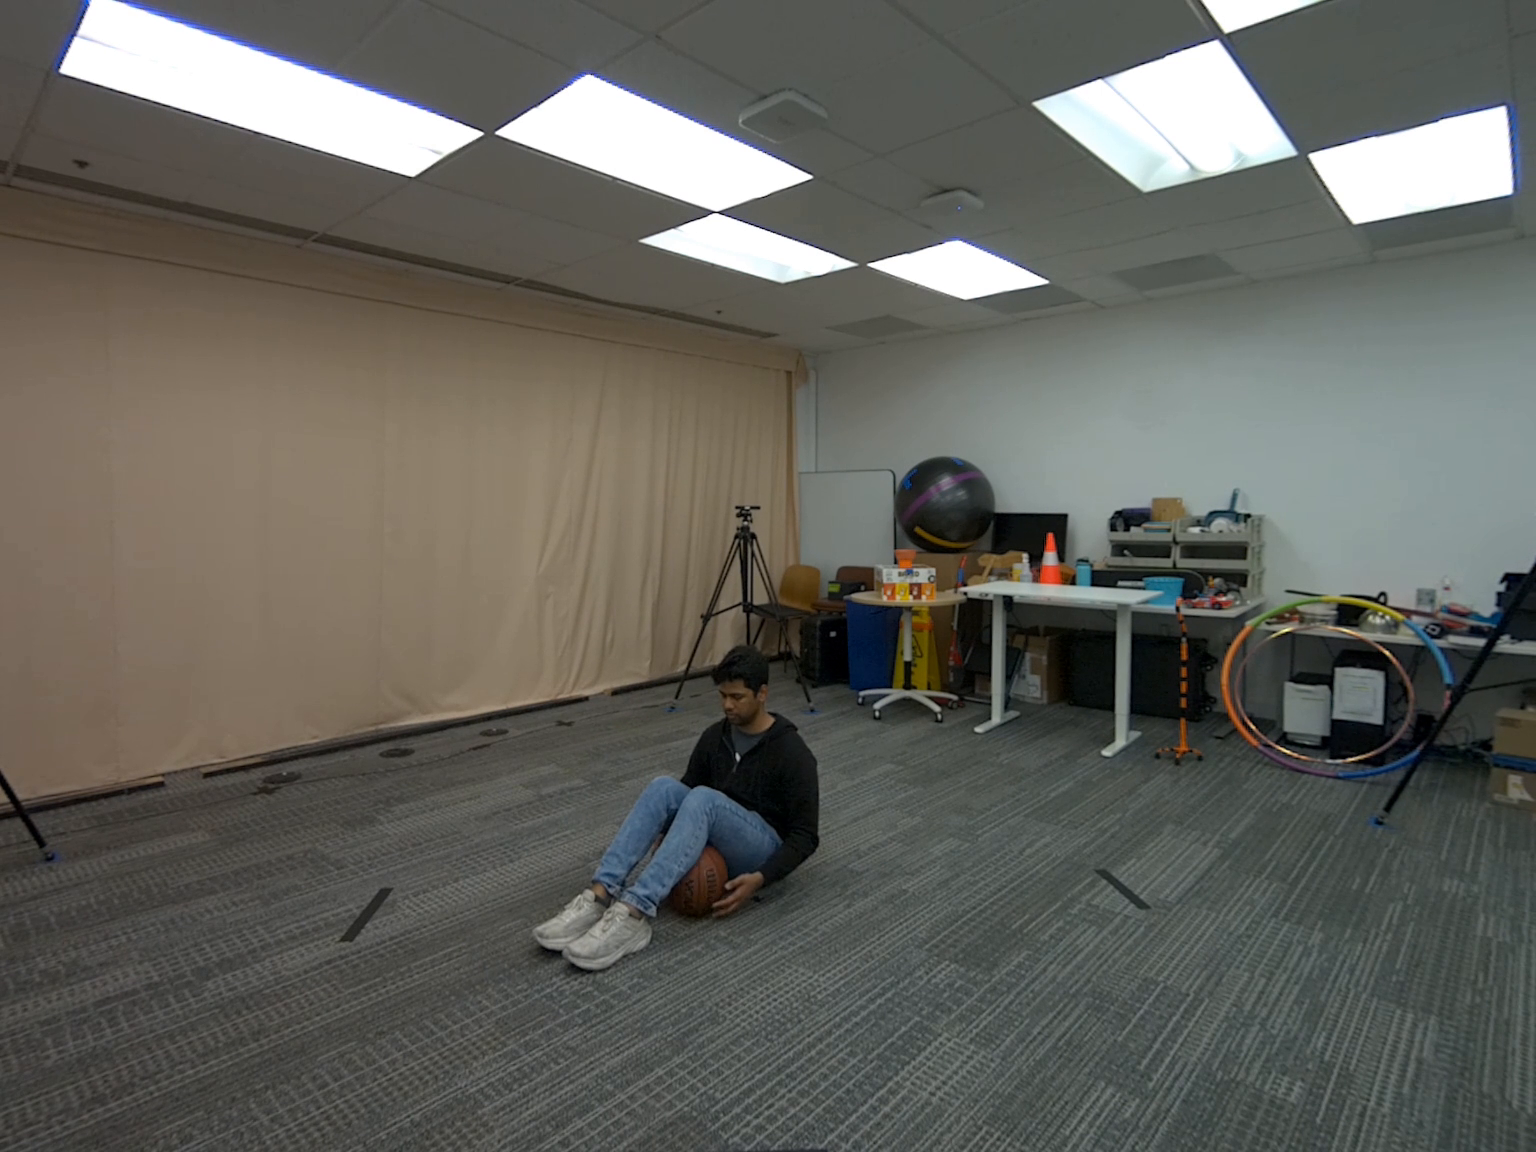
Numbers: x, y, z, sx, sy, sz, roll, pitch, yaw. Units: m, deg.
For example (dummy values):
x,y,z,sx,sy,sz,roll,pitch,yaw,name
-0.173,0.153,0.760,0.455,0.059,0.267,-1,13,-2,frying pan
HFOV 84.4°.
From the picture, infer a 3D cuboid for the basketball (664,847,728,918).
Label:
x,y,z,sx,sy,sz,roll,pitch,yaw,name
-0.261,1.030,2.901,0.236,0.235,0.237,0,4,-2,basketball
